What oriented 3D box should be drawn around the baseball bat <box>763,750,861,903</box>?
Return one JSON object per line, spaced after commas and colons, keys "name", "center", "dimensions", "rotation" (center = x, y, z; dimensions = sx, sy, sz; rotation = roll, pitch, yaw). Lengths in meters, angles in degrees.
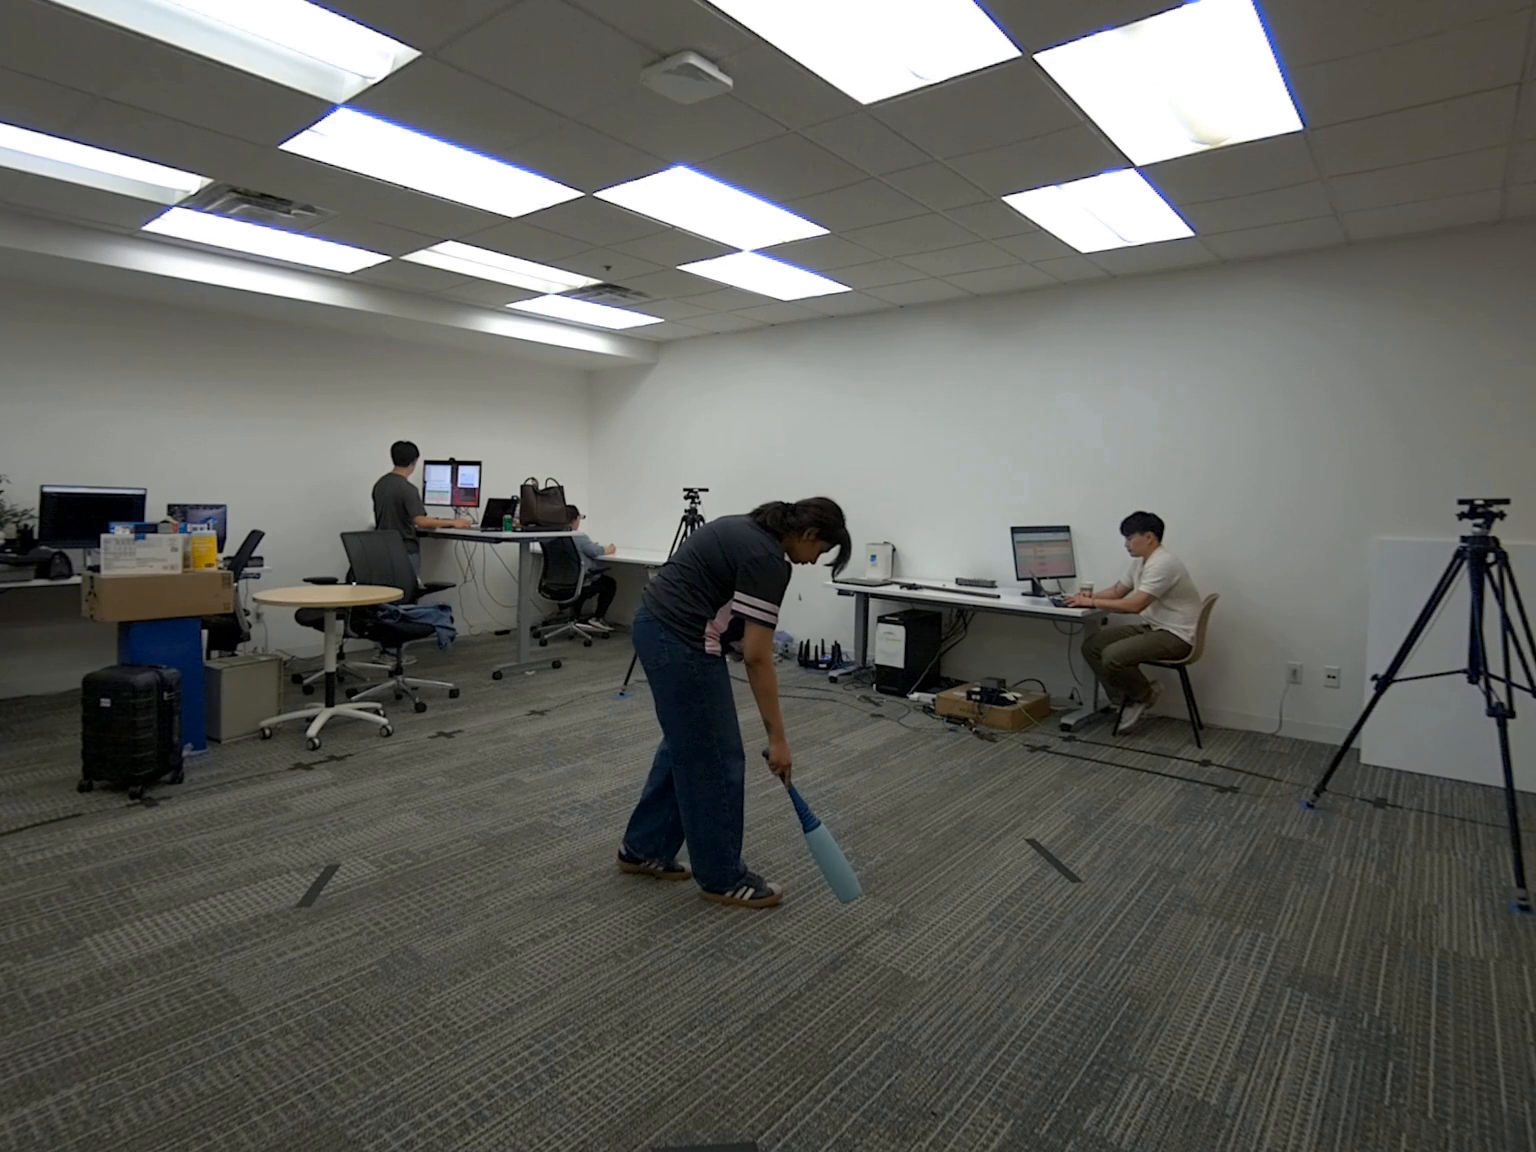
{"name": "baseball bat", "center": [0.129, 0.800, 2.761], "dimensions": [0.089, 0.547, 0.088], "rotation": [-30, -6, -4]}
